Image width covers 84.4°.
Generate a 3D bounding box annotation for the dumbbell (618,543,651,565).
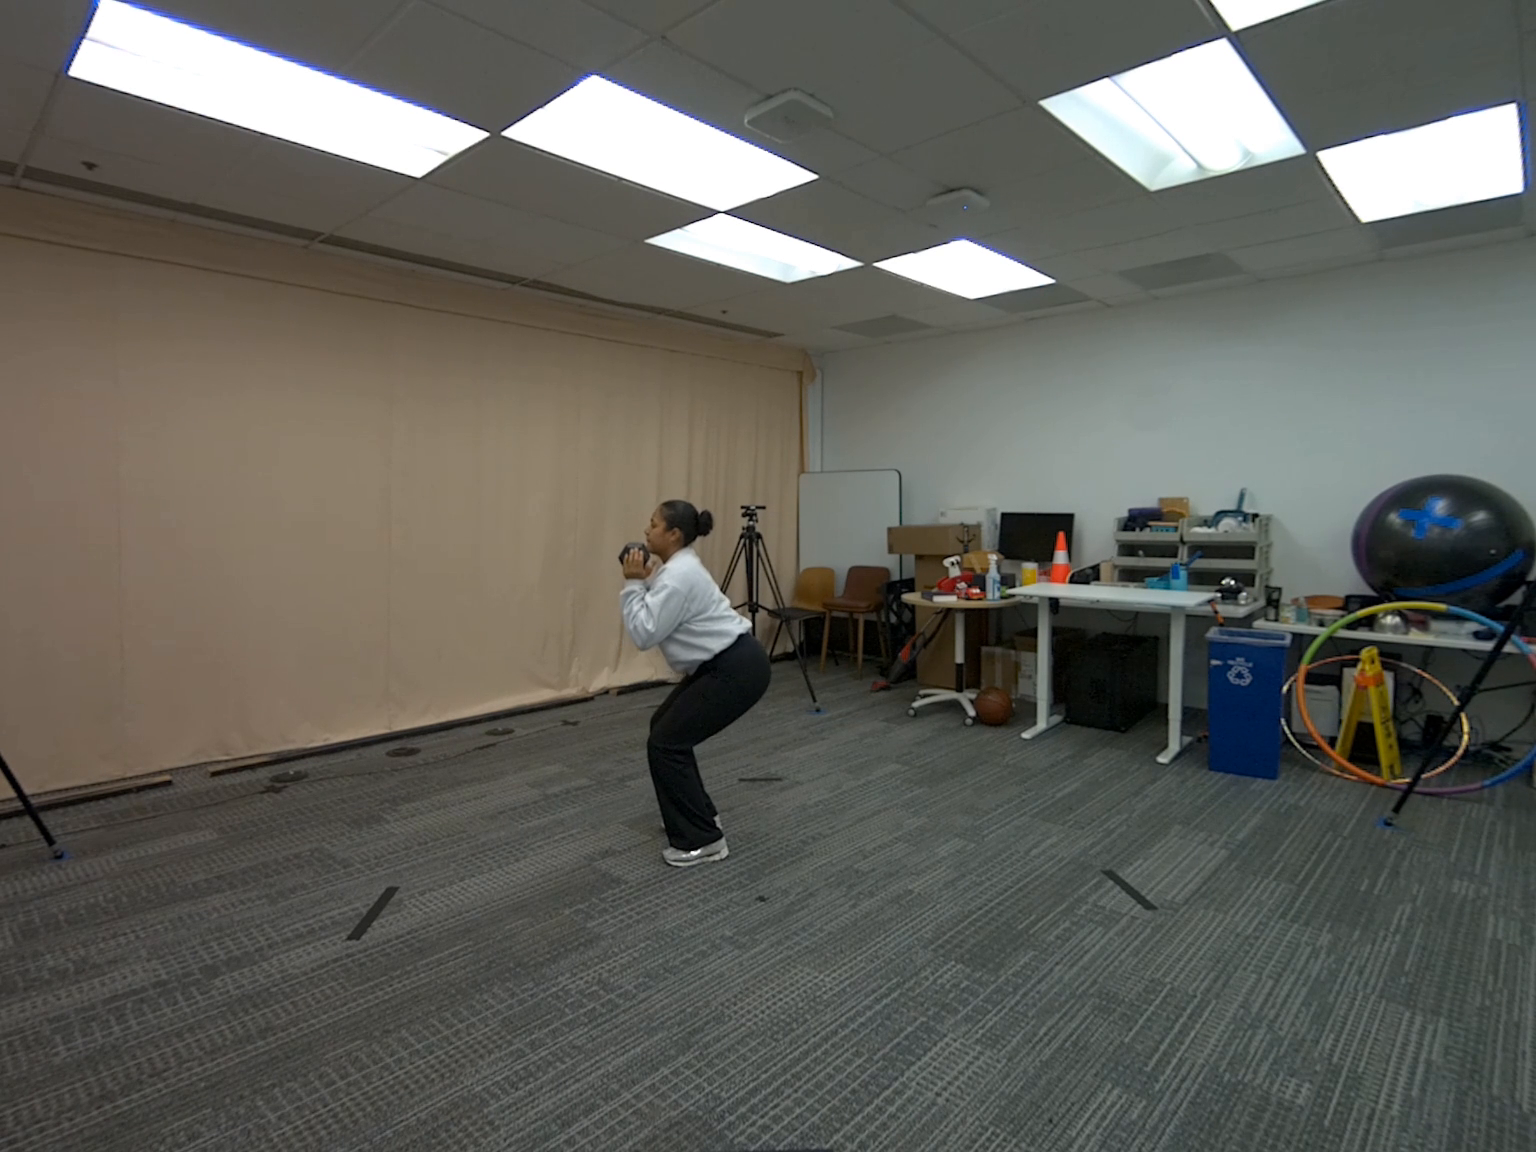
[{"bbox_3d":[-0.535,-0.073,3.421,0.108,0.123,0.295,33,-2,-7],"label":"dumbbell"}]
